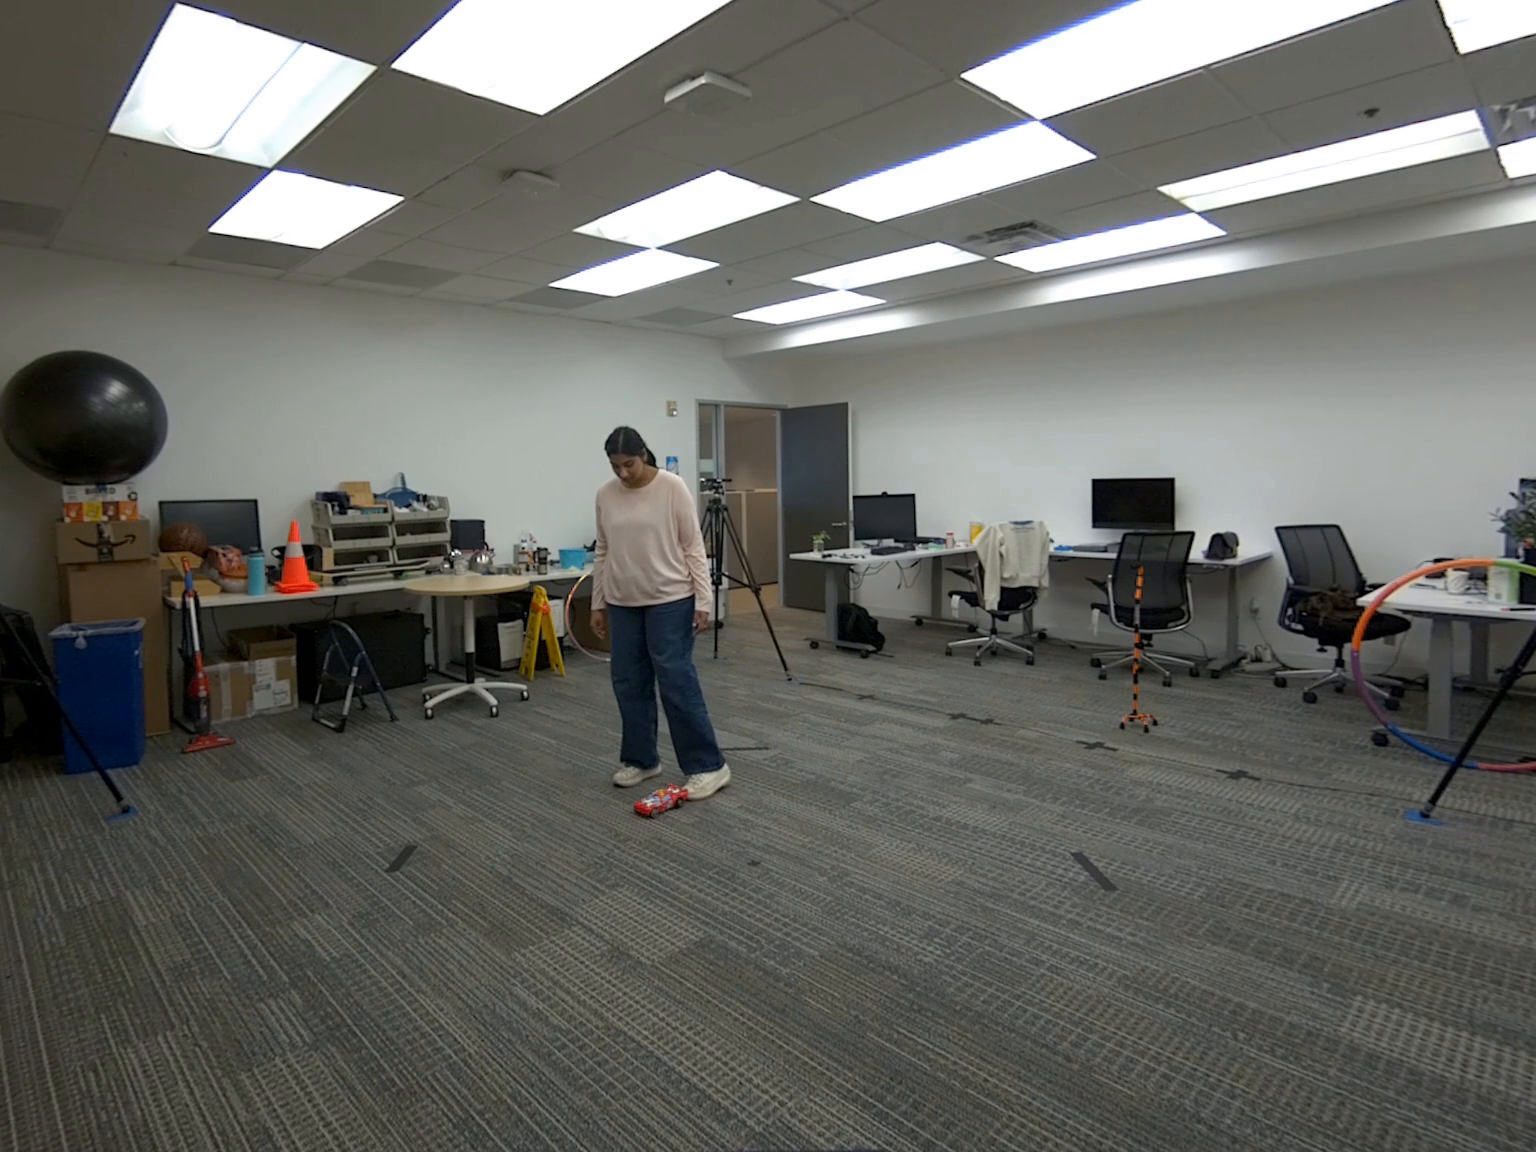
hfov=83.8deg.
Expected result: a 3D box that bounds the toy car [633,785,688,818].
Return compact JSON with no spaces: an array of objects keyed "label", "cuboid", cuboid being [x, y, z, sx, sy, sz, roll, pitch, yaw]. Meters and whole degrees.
[{"label":"toy car","cuboid":[-0.453,0.960,3.644,0.134,0.082,0.250,2,18,41]}]
